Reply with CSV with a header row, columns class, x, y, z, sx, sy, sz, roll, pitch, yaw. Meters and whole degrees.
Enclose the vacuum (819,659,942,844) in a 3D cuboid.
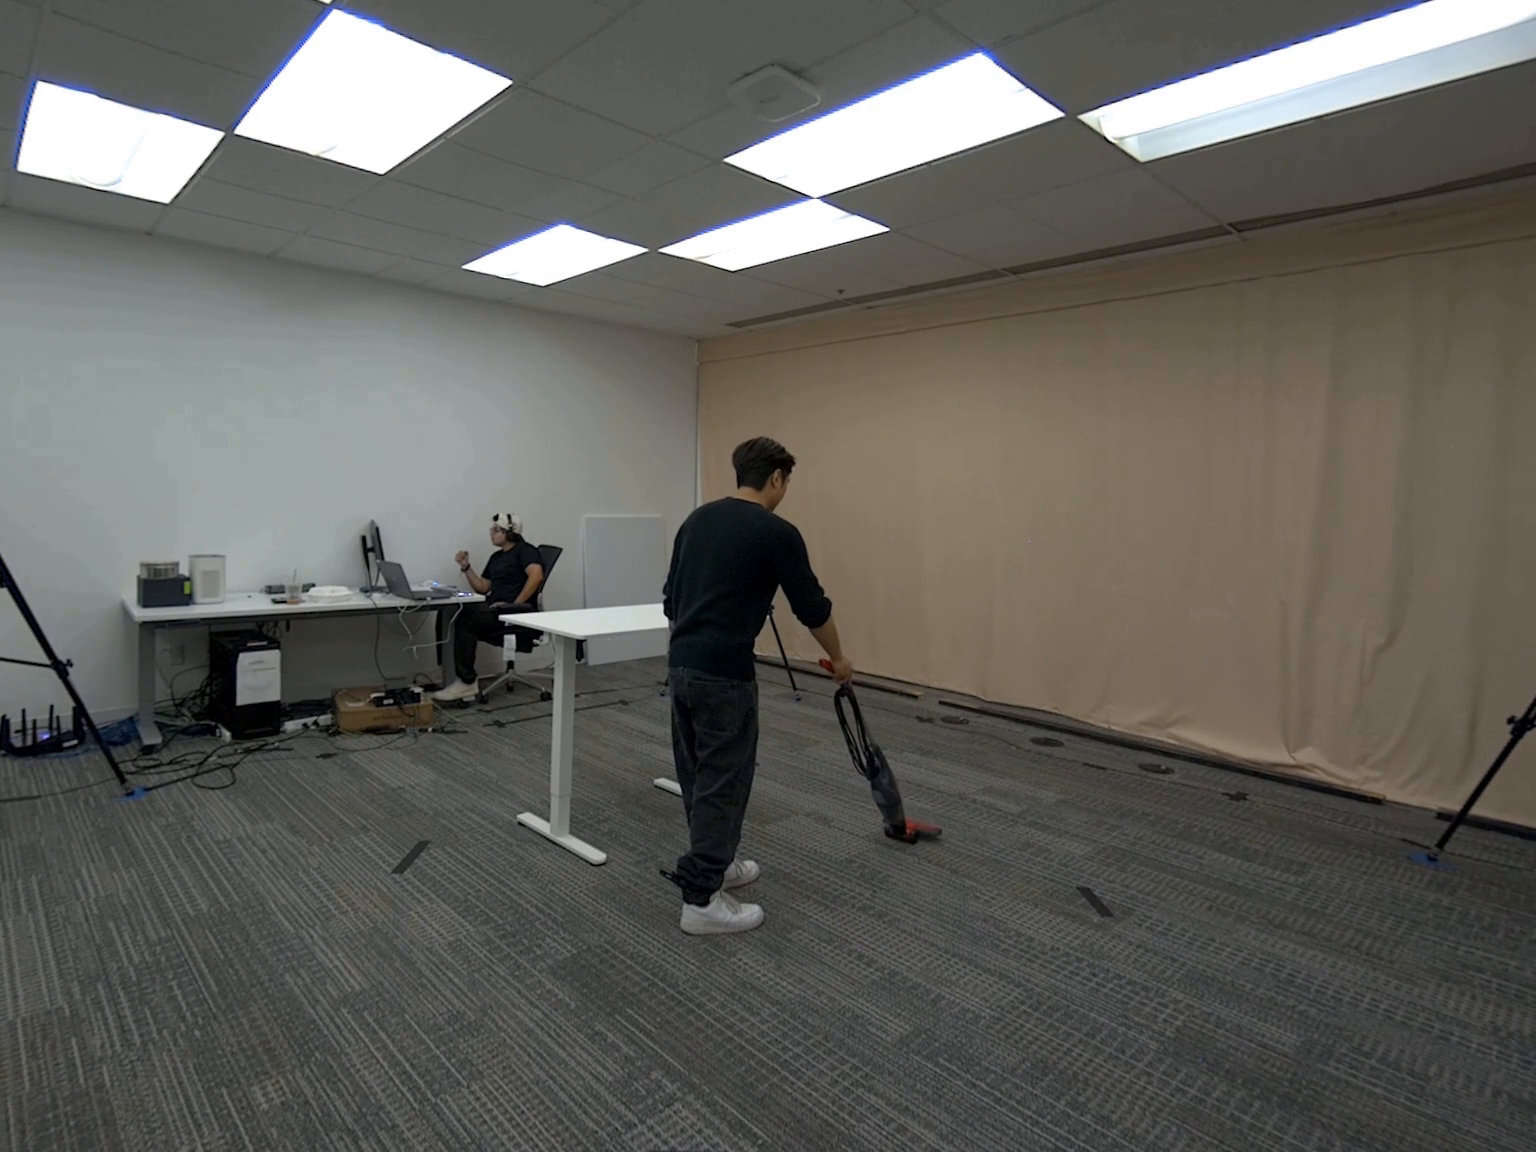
class,x,y,z,sx,sy,sz,roll,pitch,yaw
vacuum,0.382,0.690,3.250,0.259,1.020,0.144,4,44,38
